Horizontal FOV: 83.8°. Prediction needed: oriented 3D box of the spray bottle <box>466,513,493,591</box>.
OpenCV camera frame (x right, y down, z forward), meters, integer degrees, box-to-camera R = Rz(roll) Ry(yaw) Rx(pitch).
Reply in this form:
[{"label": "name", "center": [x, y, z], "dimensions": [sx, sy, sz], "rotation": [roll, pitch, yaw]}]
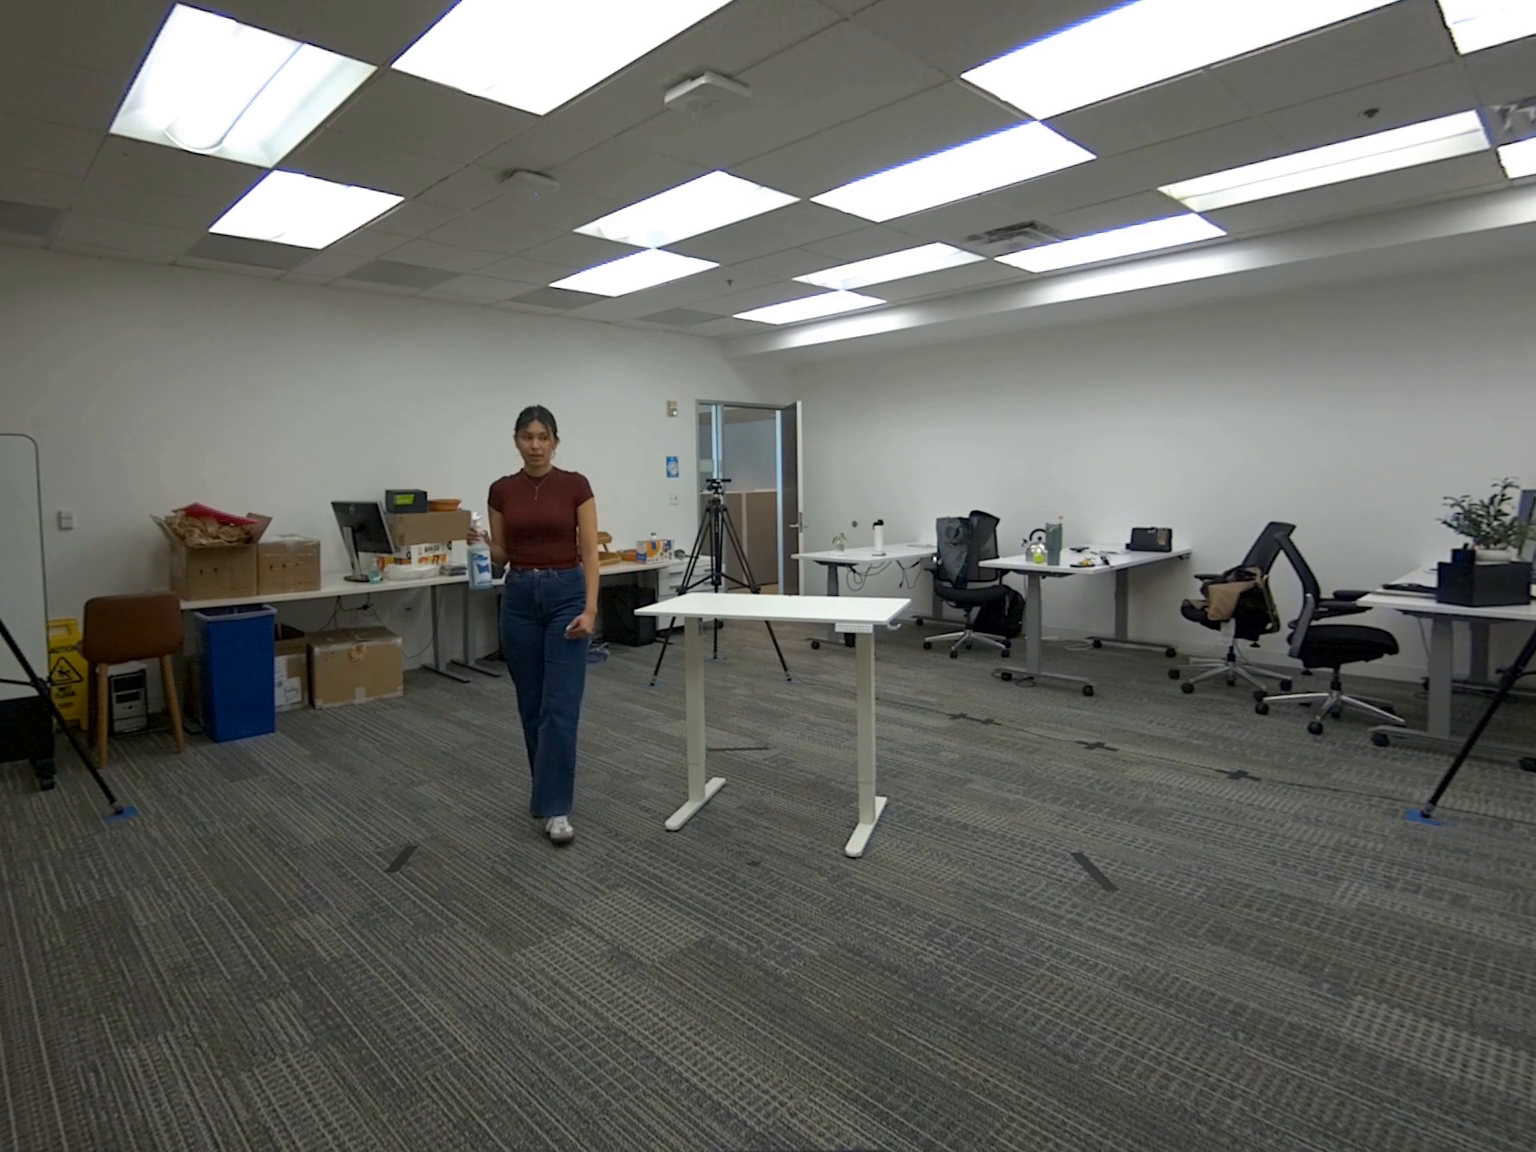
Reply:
[{"label": "spray bottle", "center": [-1.121, -0.098, 3.287], "dimensions": [0.088, 0.297, 0.088], "rotation": [-1, 1, 19]}]
